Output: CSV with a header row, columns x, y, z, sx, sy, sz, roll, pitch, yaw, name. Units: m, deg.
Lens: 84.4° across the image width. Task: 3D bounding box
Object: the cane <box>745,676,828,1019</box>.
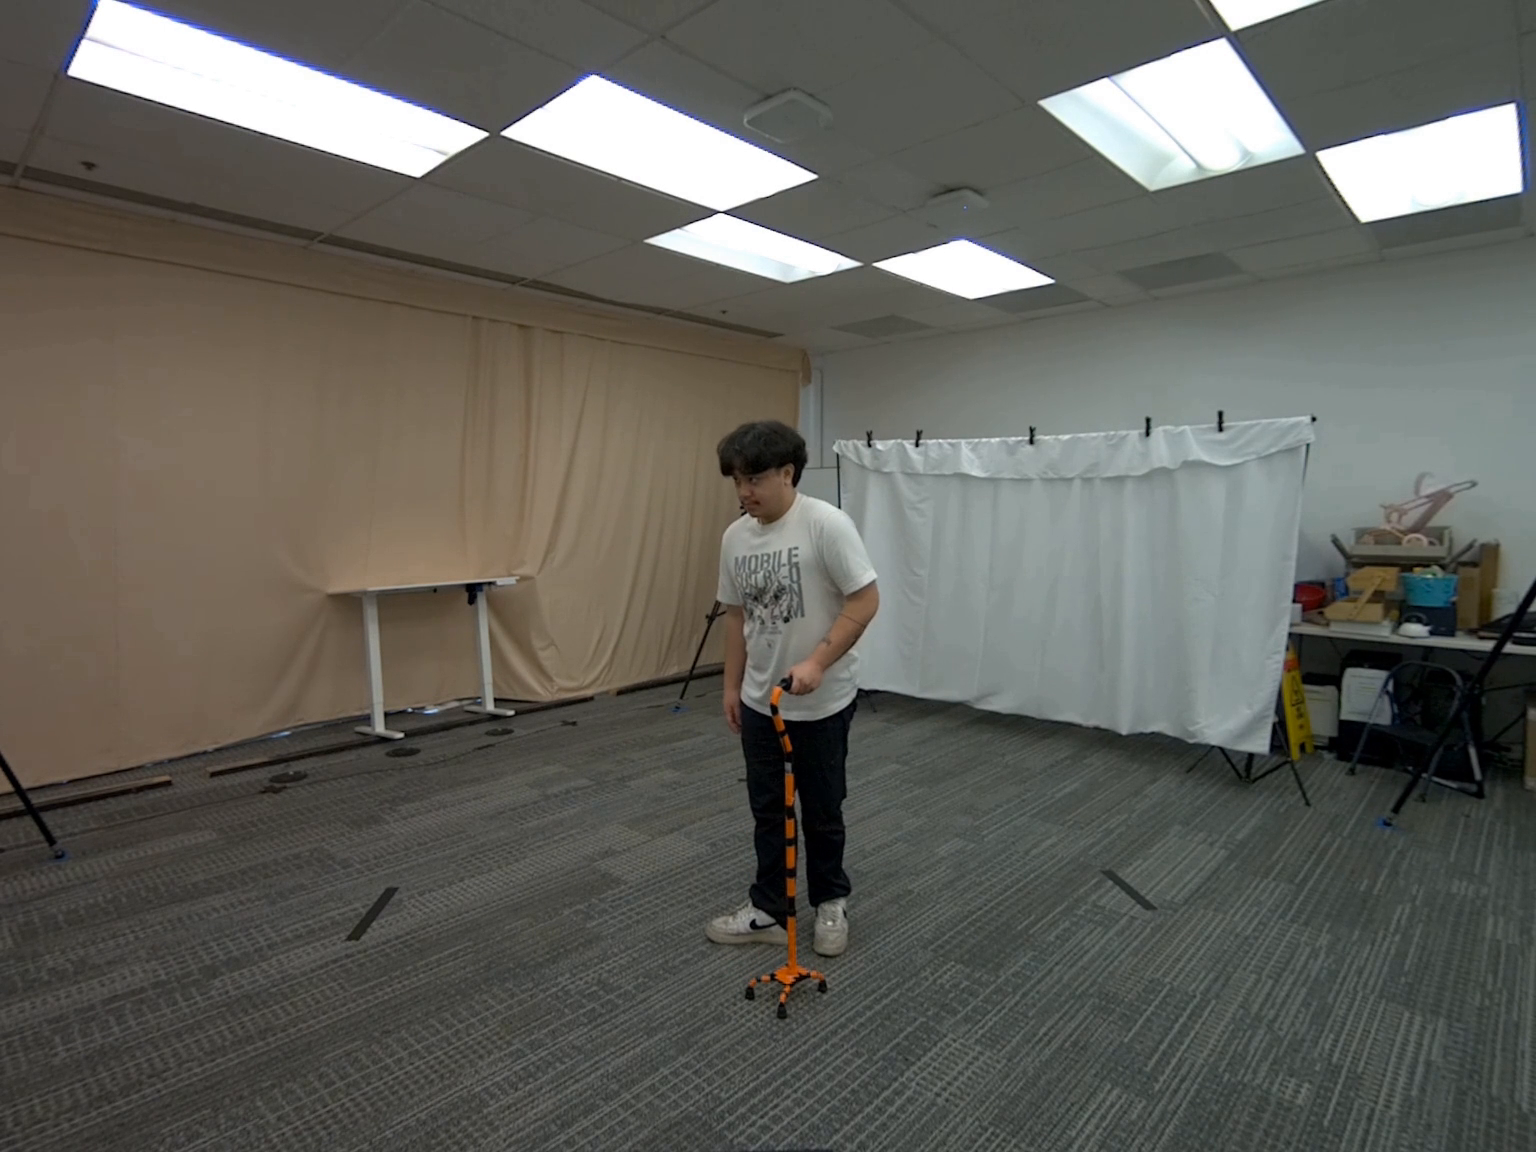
x,y,z,sx,sy,sz,roll,pitch,yaw,name
0.058,0.737,2.382,0.200,0.906,0.156,-3,4,-44,cane
